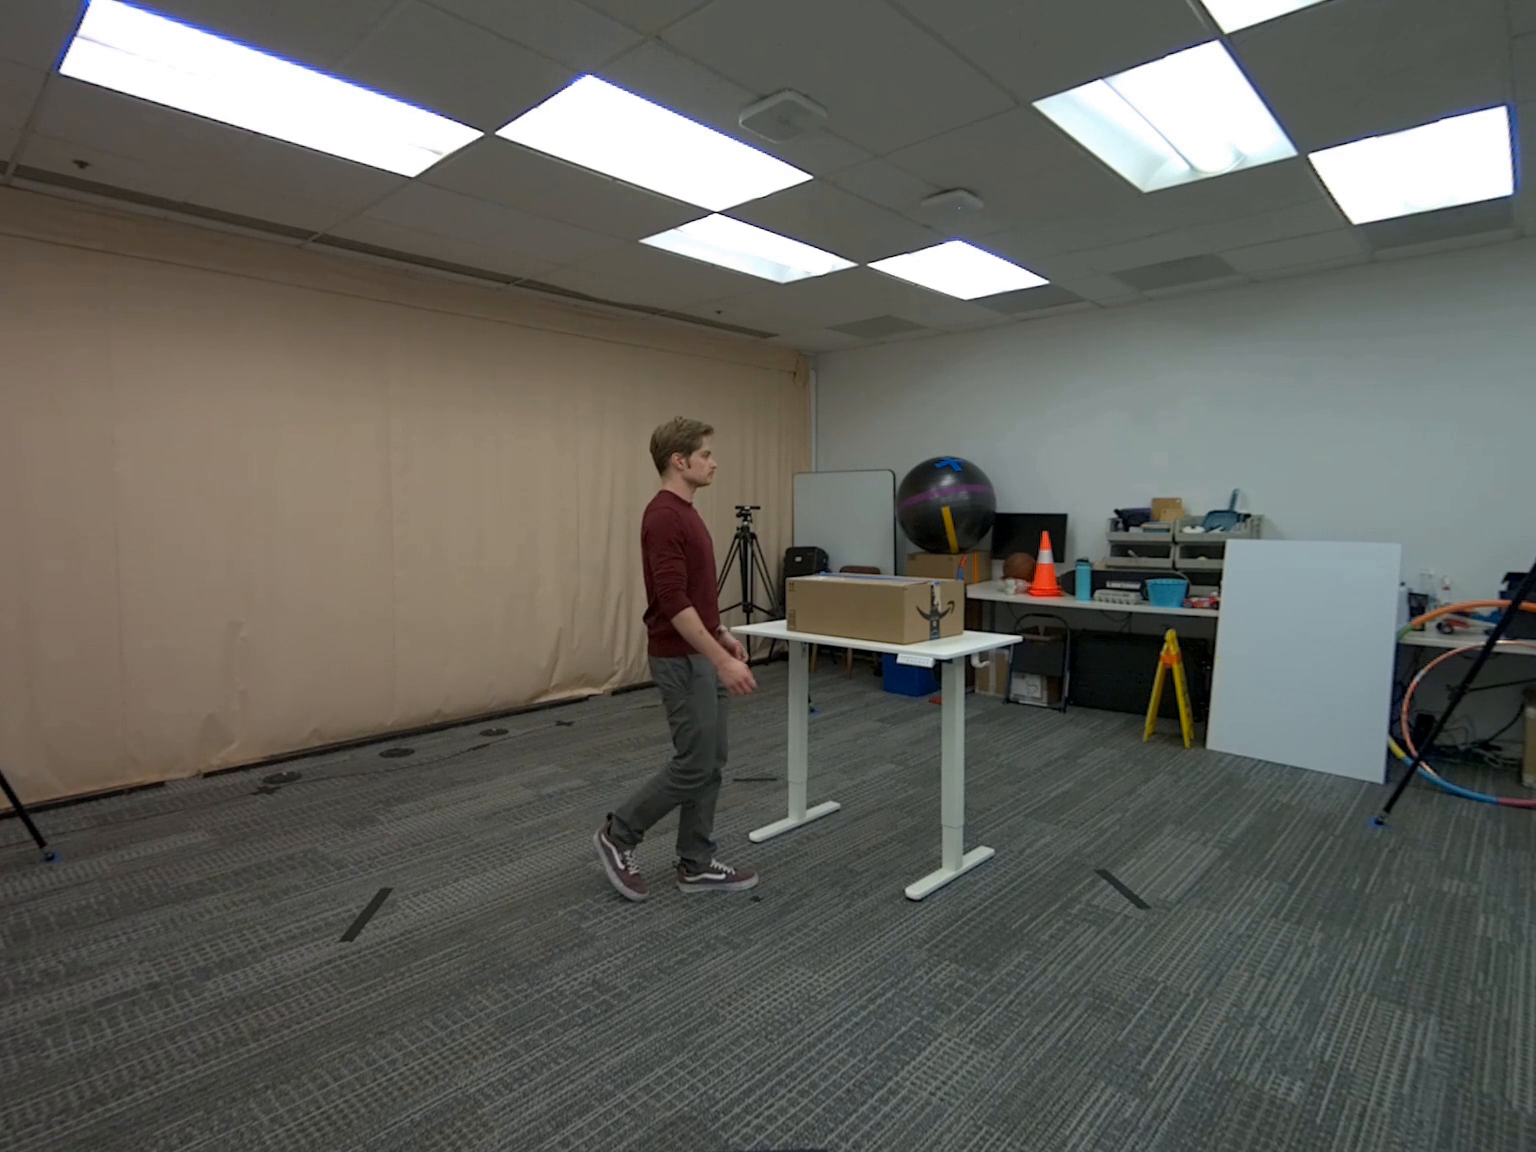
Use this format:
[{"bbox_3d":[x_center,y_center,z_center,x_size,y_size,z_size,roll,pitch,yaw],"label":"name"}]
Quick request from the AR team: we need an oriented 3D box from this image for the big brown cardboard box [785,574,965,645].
[{"bbox_3d":[0.426,0.119,3.387,0.609,0.232,0.405,4,6,43],"label":"big brown cardboard box"}]
